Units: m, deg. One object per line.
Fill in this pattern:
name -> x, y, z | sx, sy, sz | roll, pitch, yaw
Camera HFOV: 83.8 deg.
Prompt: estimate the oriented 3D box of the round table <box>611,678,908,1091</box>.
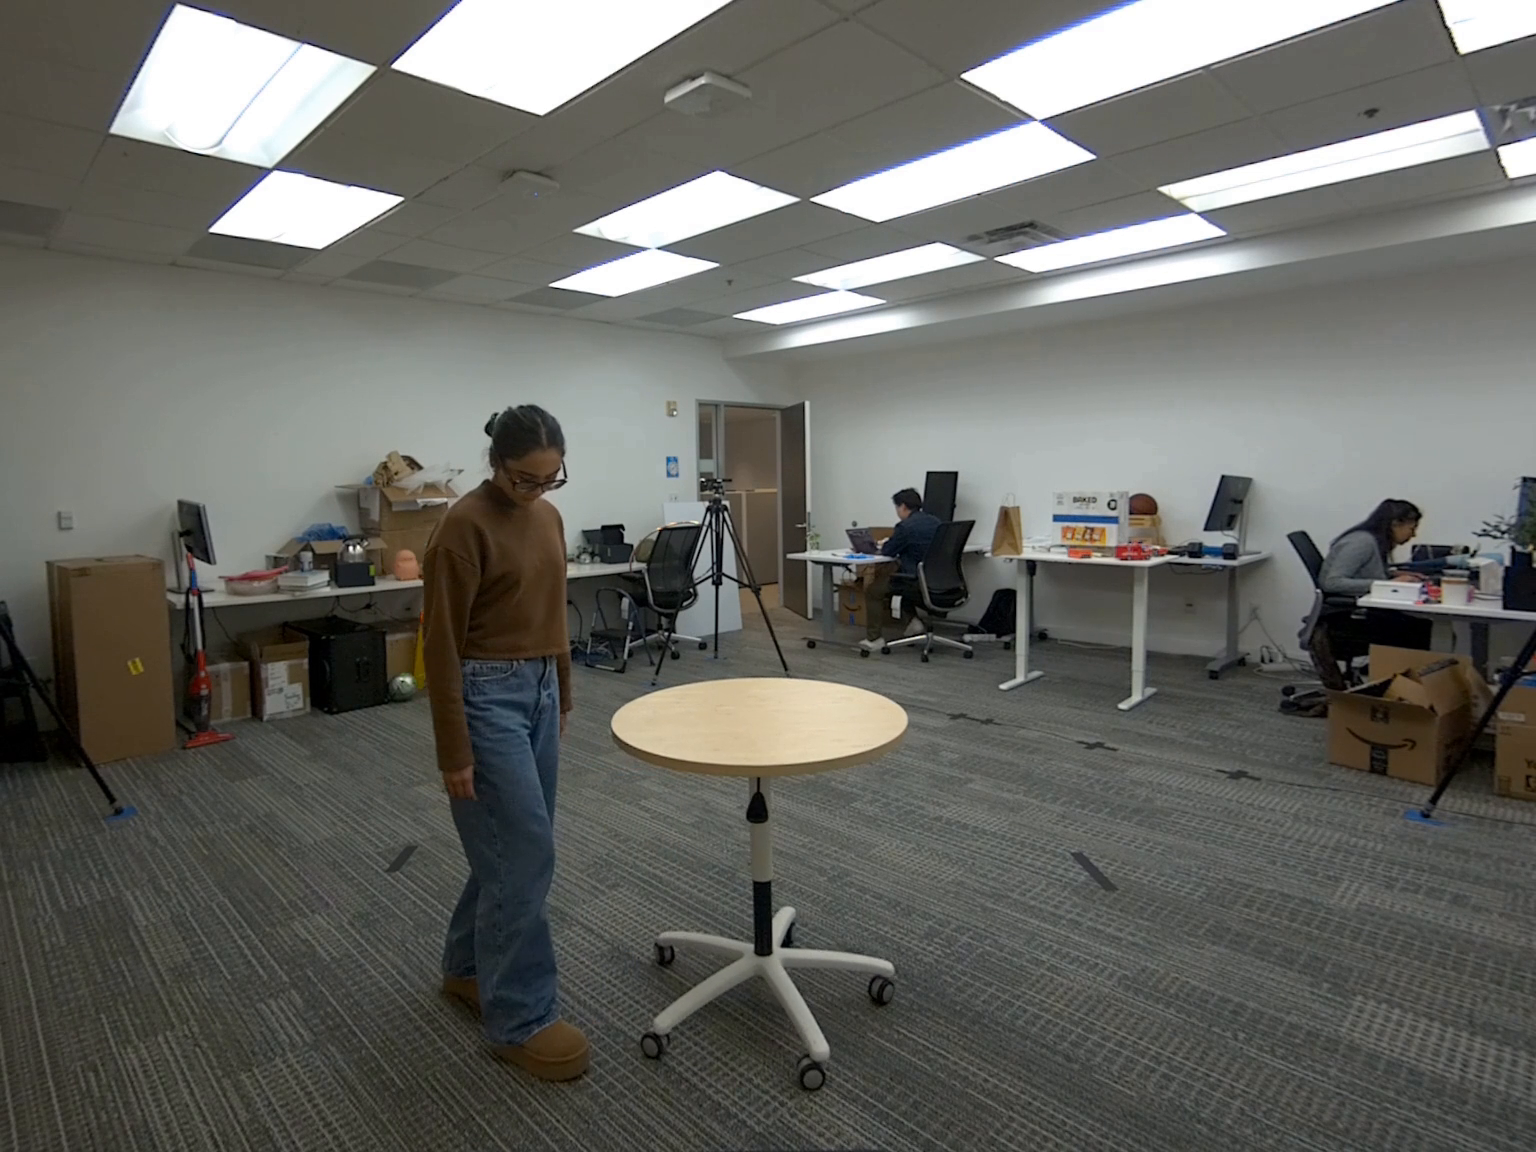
round table -> -0.012, 0.756, 2.260 | 0.763, 0.790, 0.768 | -2, 5, -2
